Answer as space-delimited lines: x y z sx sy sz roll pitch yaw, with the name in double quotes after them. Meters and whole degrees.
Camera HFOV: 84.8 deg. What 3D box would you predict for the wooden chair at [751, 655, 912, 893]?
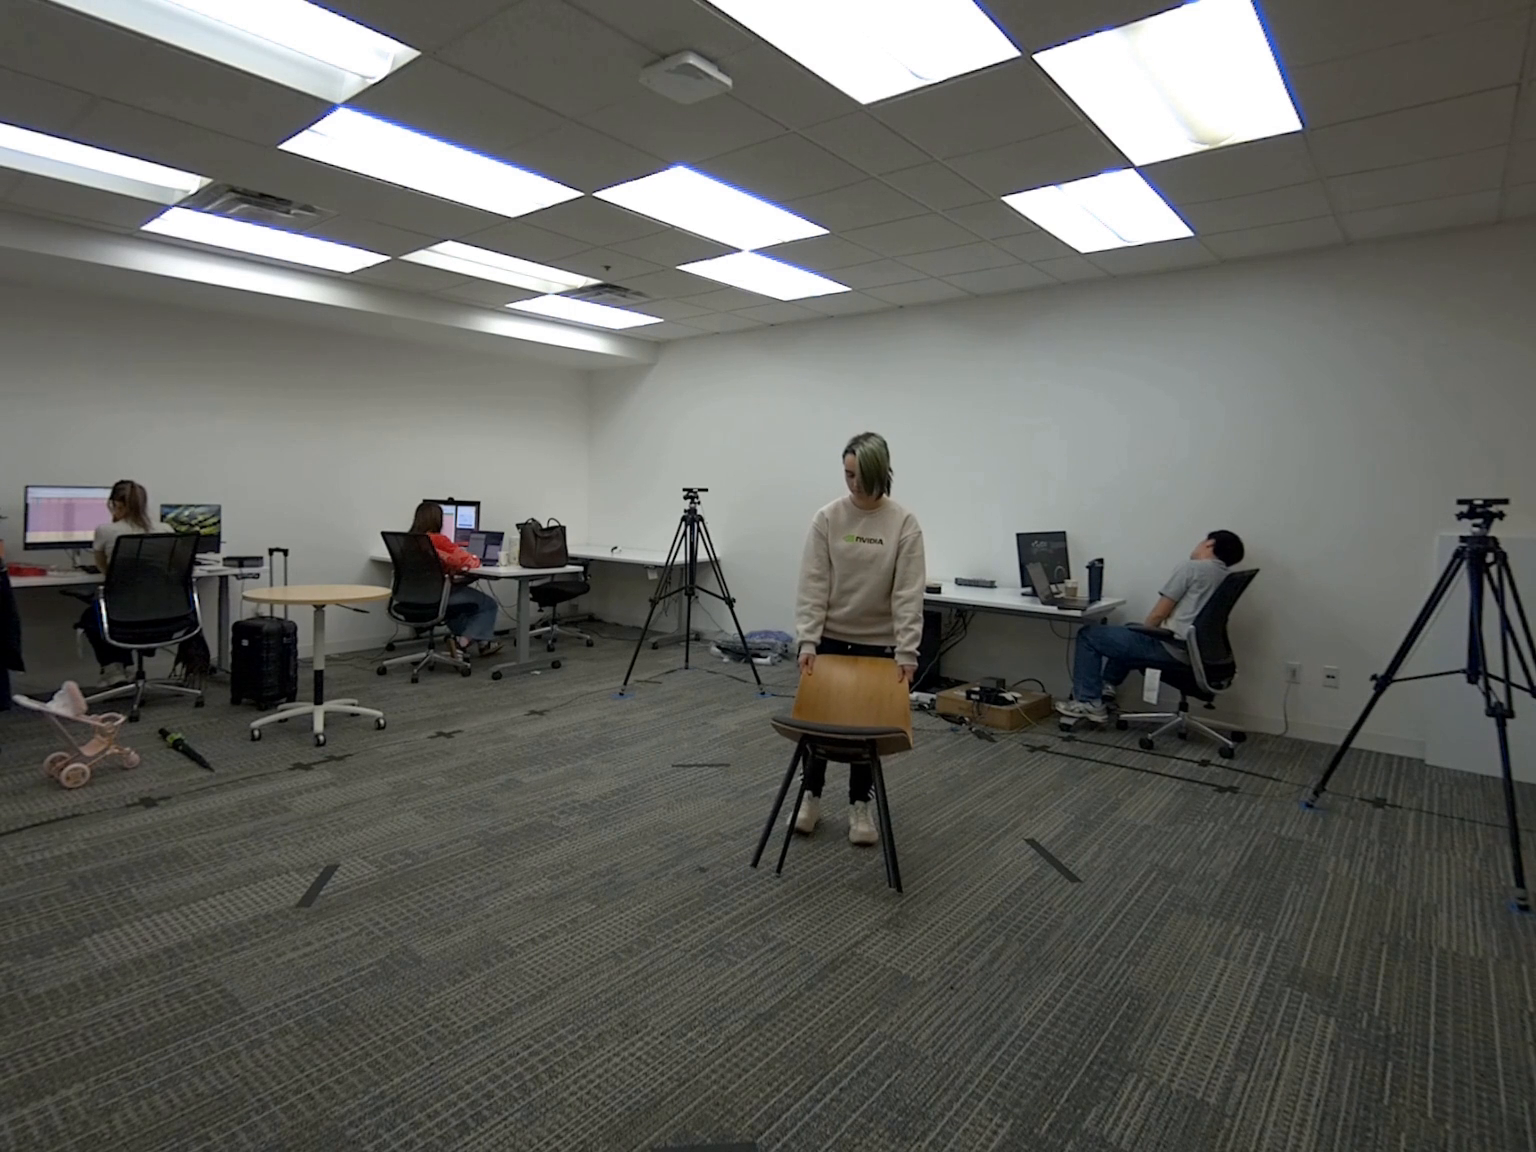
0.250 0.609 2.969 0.486 0.893 0.505 2 -26 15 "wooden chair"
